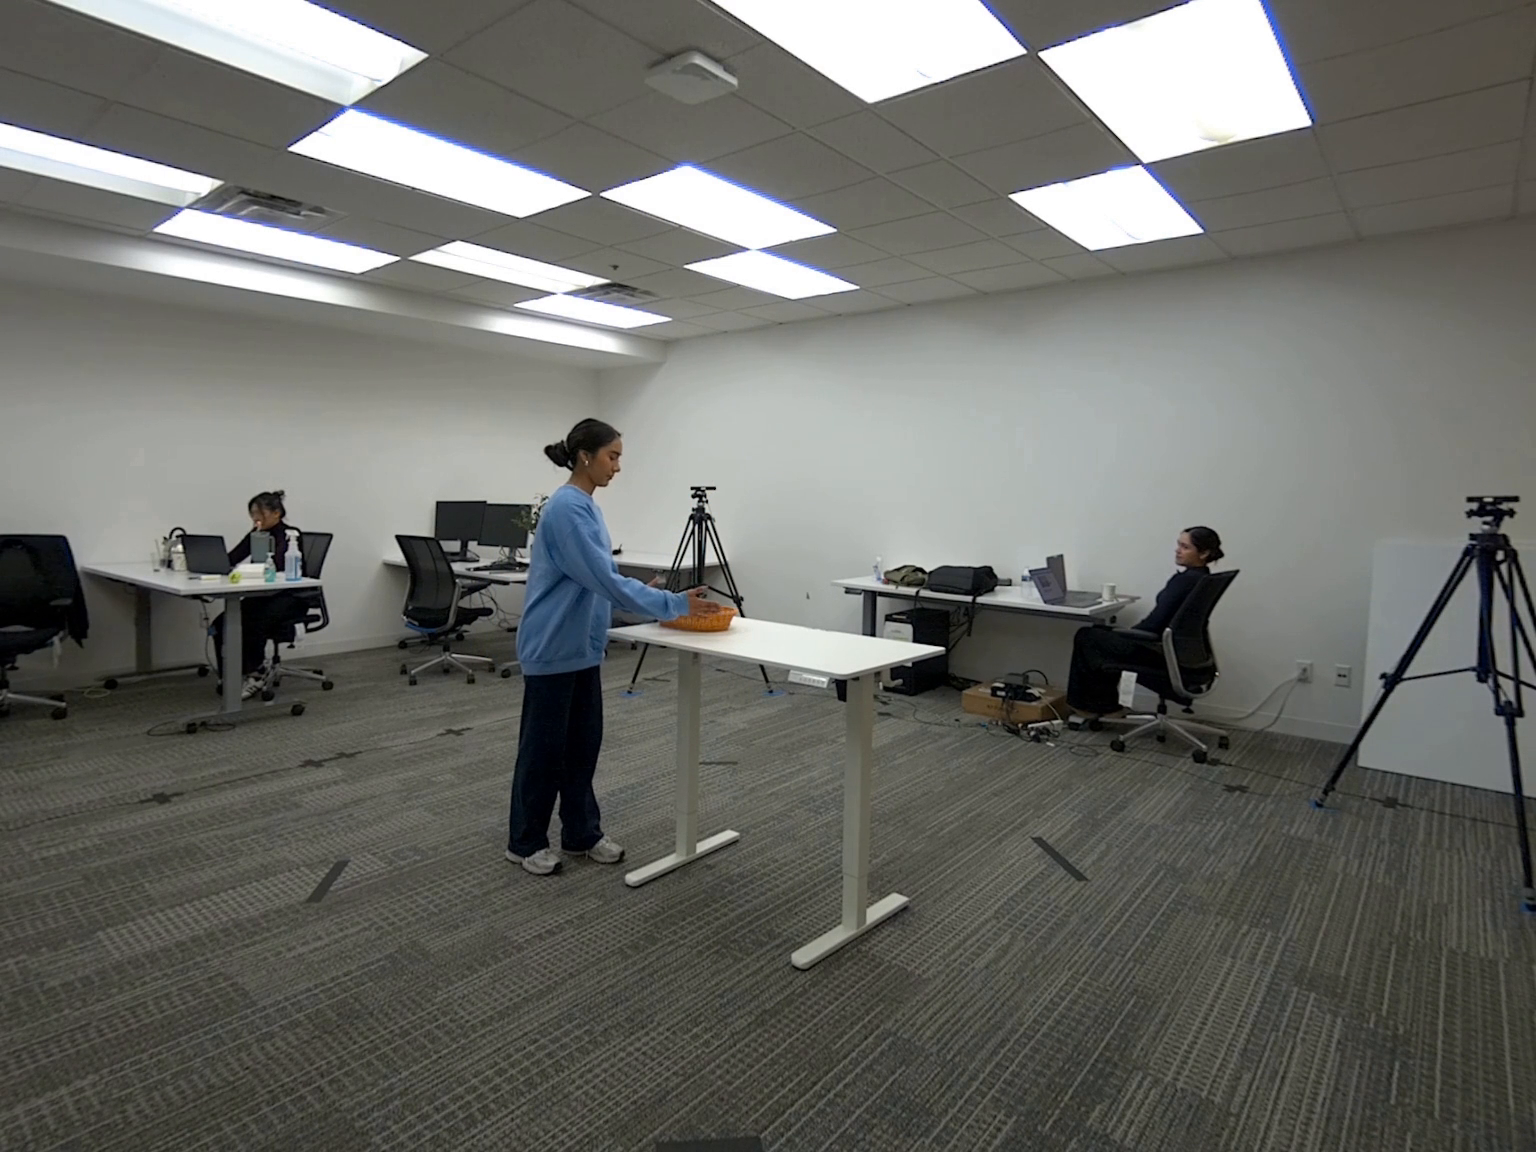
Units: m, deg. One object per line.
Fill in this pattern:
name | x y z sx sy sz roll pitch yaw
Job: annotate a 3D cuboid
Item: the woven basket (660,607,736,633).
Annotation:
woven basket | -0.292 0.153 3.099 0.362 0.073 0.245 5 5 39
